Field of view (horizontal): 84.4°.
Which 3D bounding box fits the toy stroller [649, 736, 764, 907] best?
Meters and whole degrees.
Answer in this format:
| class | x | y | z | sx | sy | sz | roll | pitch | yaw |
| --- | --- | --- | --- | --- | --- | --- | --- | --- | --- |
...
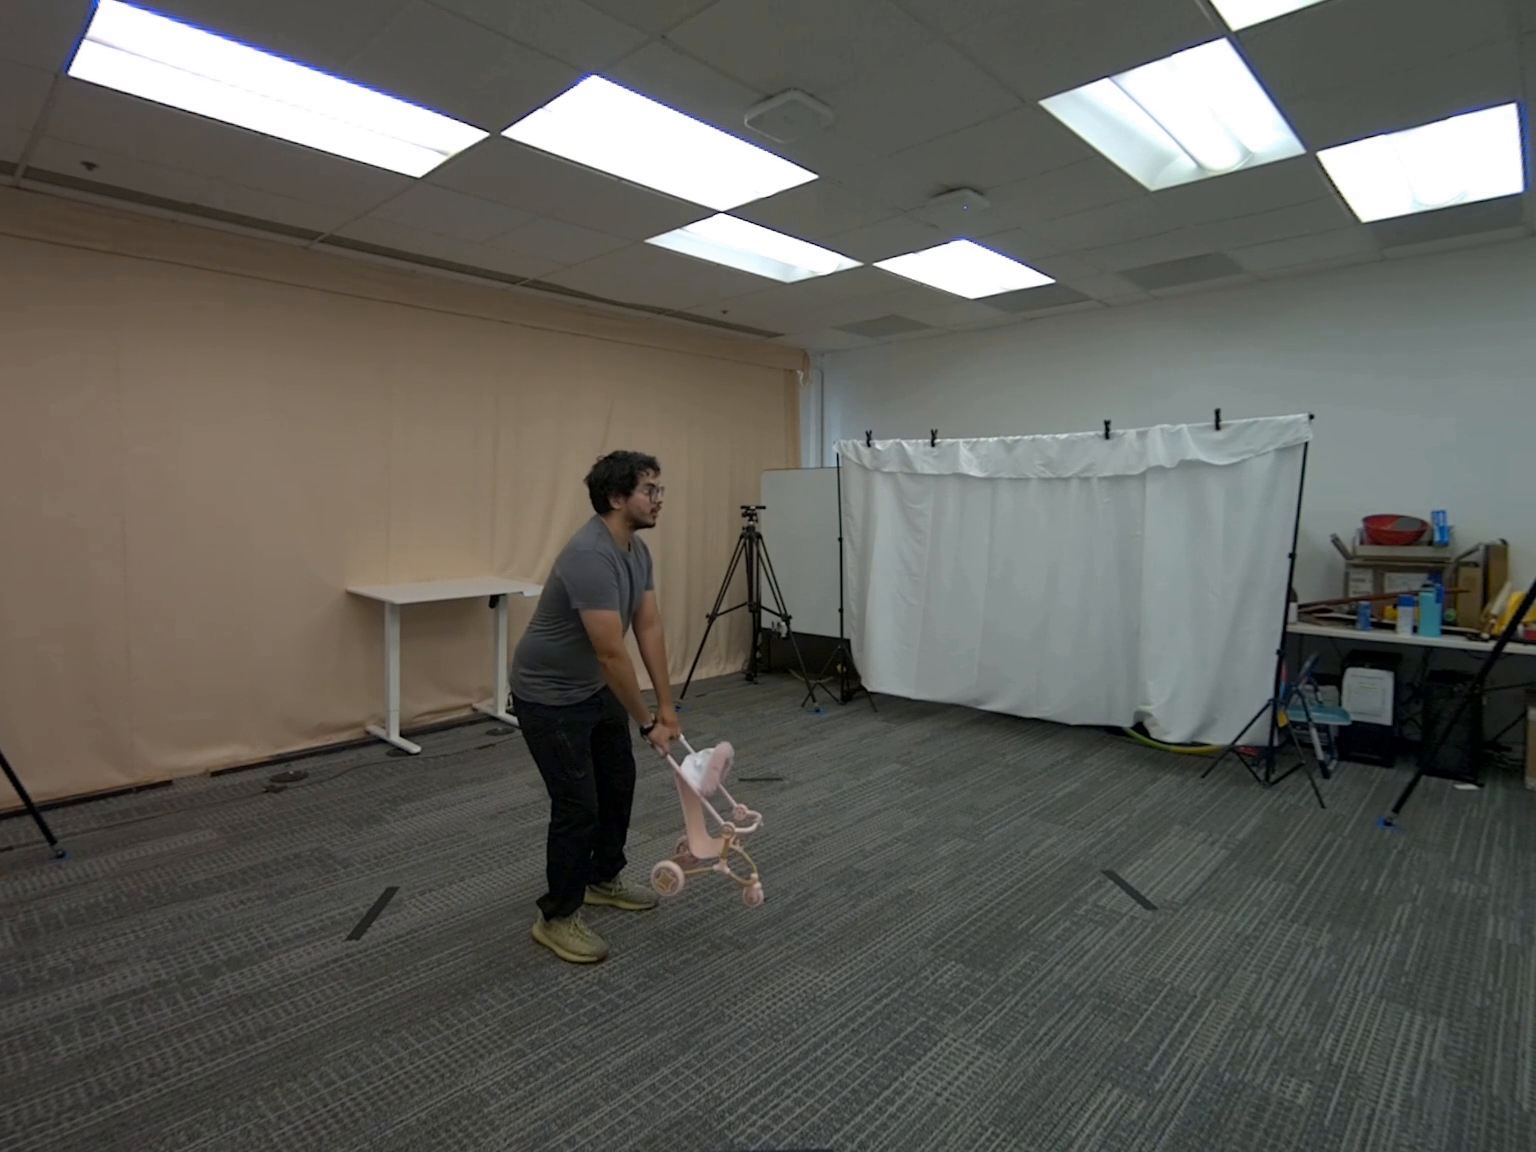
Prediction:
| class | x | y | z | sx | sy | sz | roll | pitch | yaw |
| --- | --- | --- | --- | --- | --- | --- | --- | --- | --- |
| toy stroller | -0.168 | 0.765 | 2.626 | 0.347 | 0.536 | 0.276 | -1 | -2 | 16 |
